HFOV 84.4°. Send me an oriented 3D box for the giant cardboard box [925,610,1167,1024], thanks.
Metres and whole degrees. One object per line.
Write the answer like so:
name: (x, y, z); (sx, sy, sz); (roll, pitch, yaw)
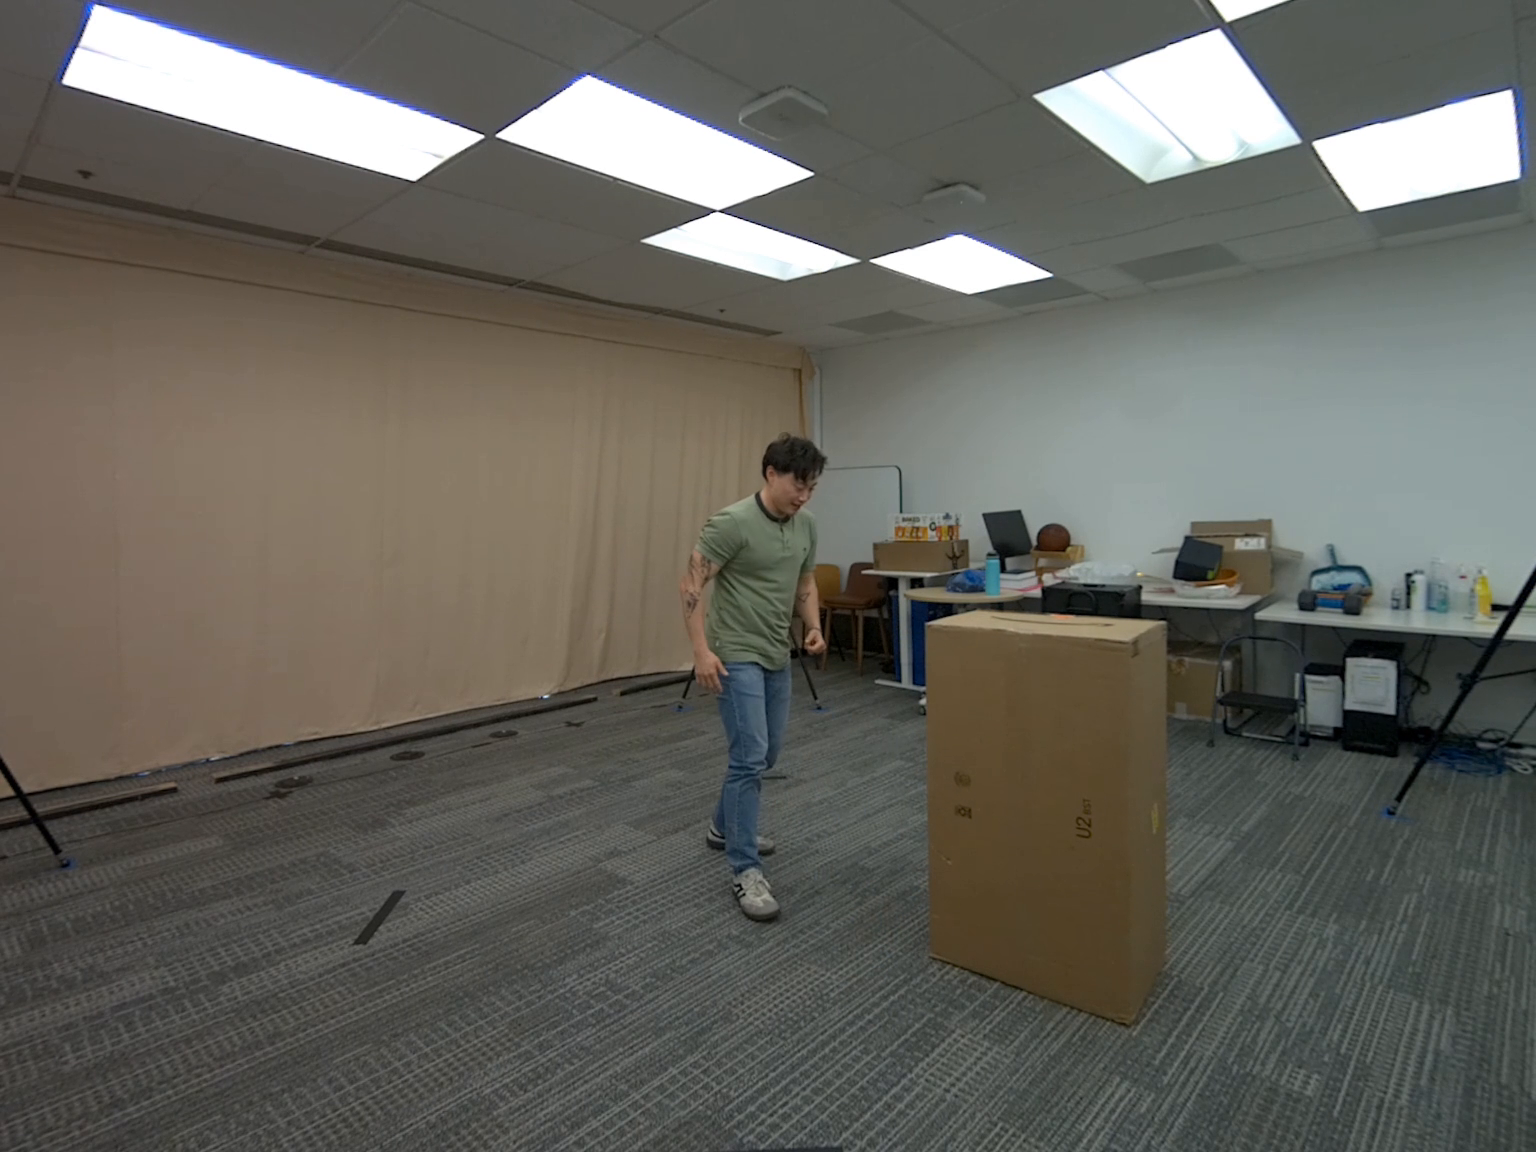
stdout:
giant cardboard box: (0.843, 0.653, 2.532); (0.596, 1.024, 0.413); (2, 4, 38)
